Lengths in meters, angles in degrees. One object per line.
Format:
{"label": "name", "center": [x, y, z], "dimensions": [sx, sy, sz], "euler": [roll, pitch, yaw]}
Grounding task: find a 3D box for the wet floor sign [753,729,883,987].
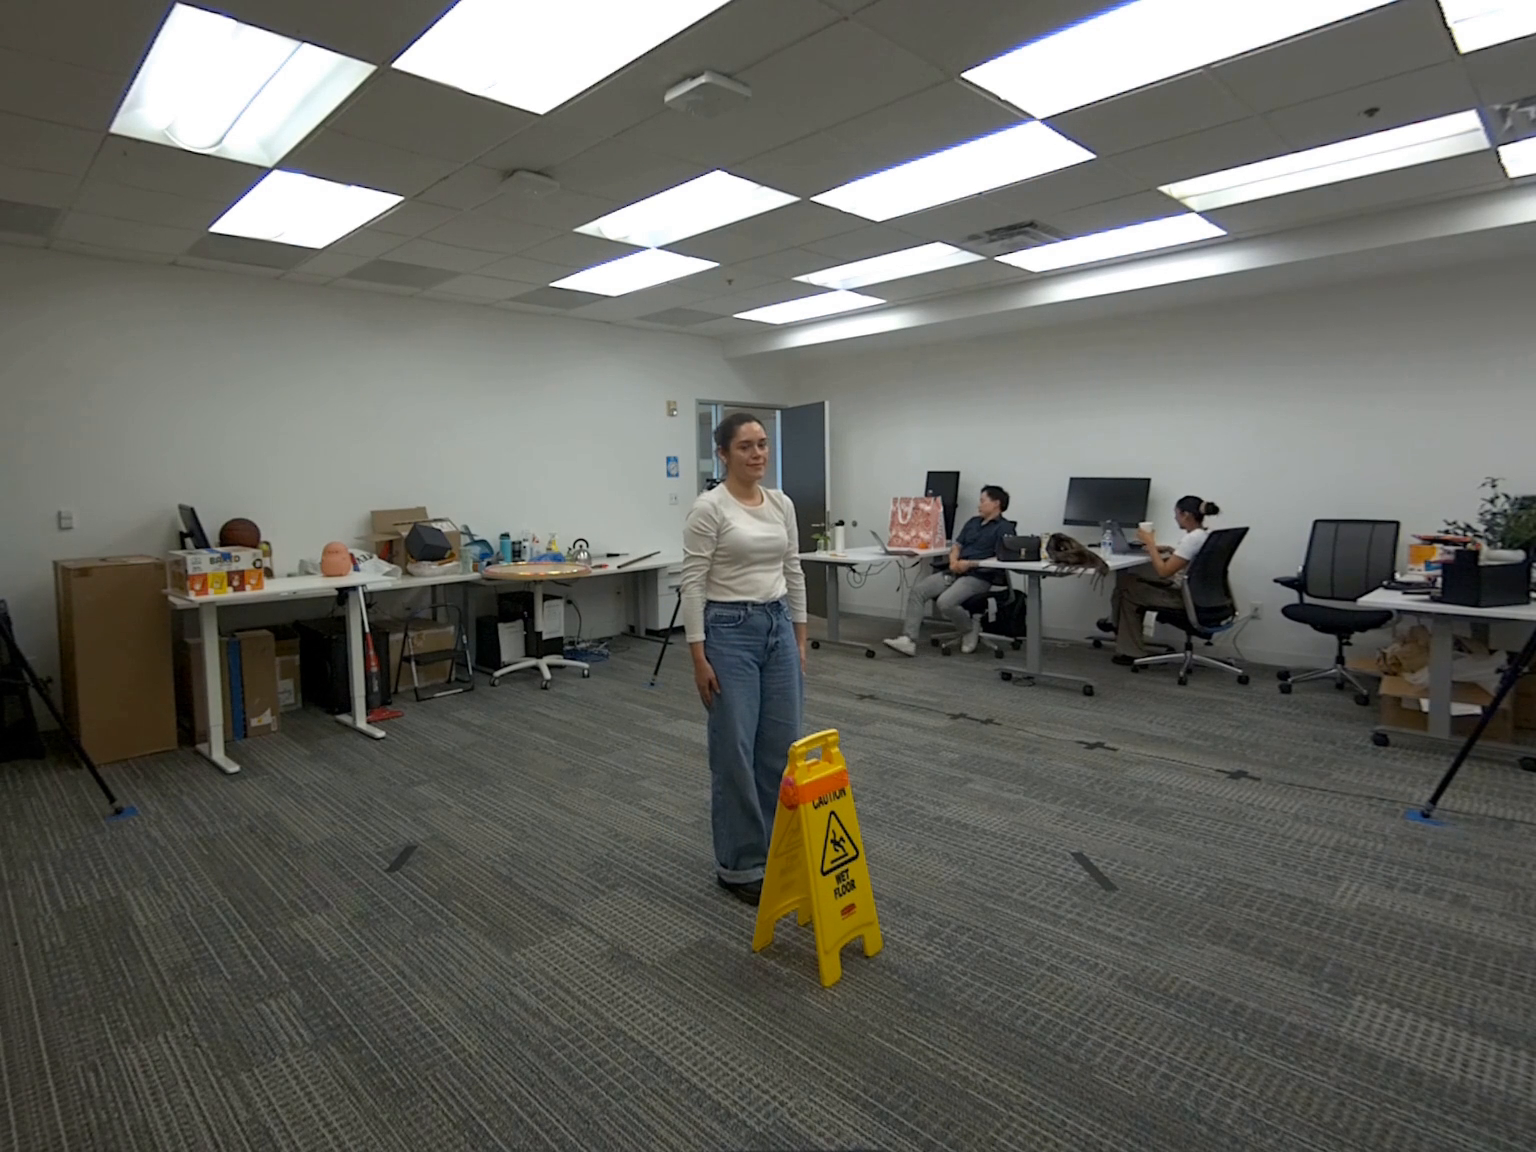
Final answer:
{"label": "wet floor sign", "center": [0.138, 0.787, 2.516], "dimensions": [0.298, 0.644, 0.275], "euler": [1, 4, 43]}
